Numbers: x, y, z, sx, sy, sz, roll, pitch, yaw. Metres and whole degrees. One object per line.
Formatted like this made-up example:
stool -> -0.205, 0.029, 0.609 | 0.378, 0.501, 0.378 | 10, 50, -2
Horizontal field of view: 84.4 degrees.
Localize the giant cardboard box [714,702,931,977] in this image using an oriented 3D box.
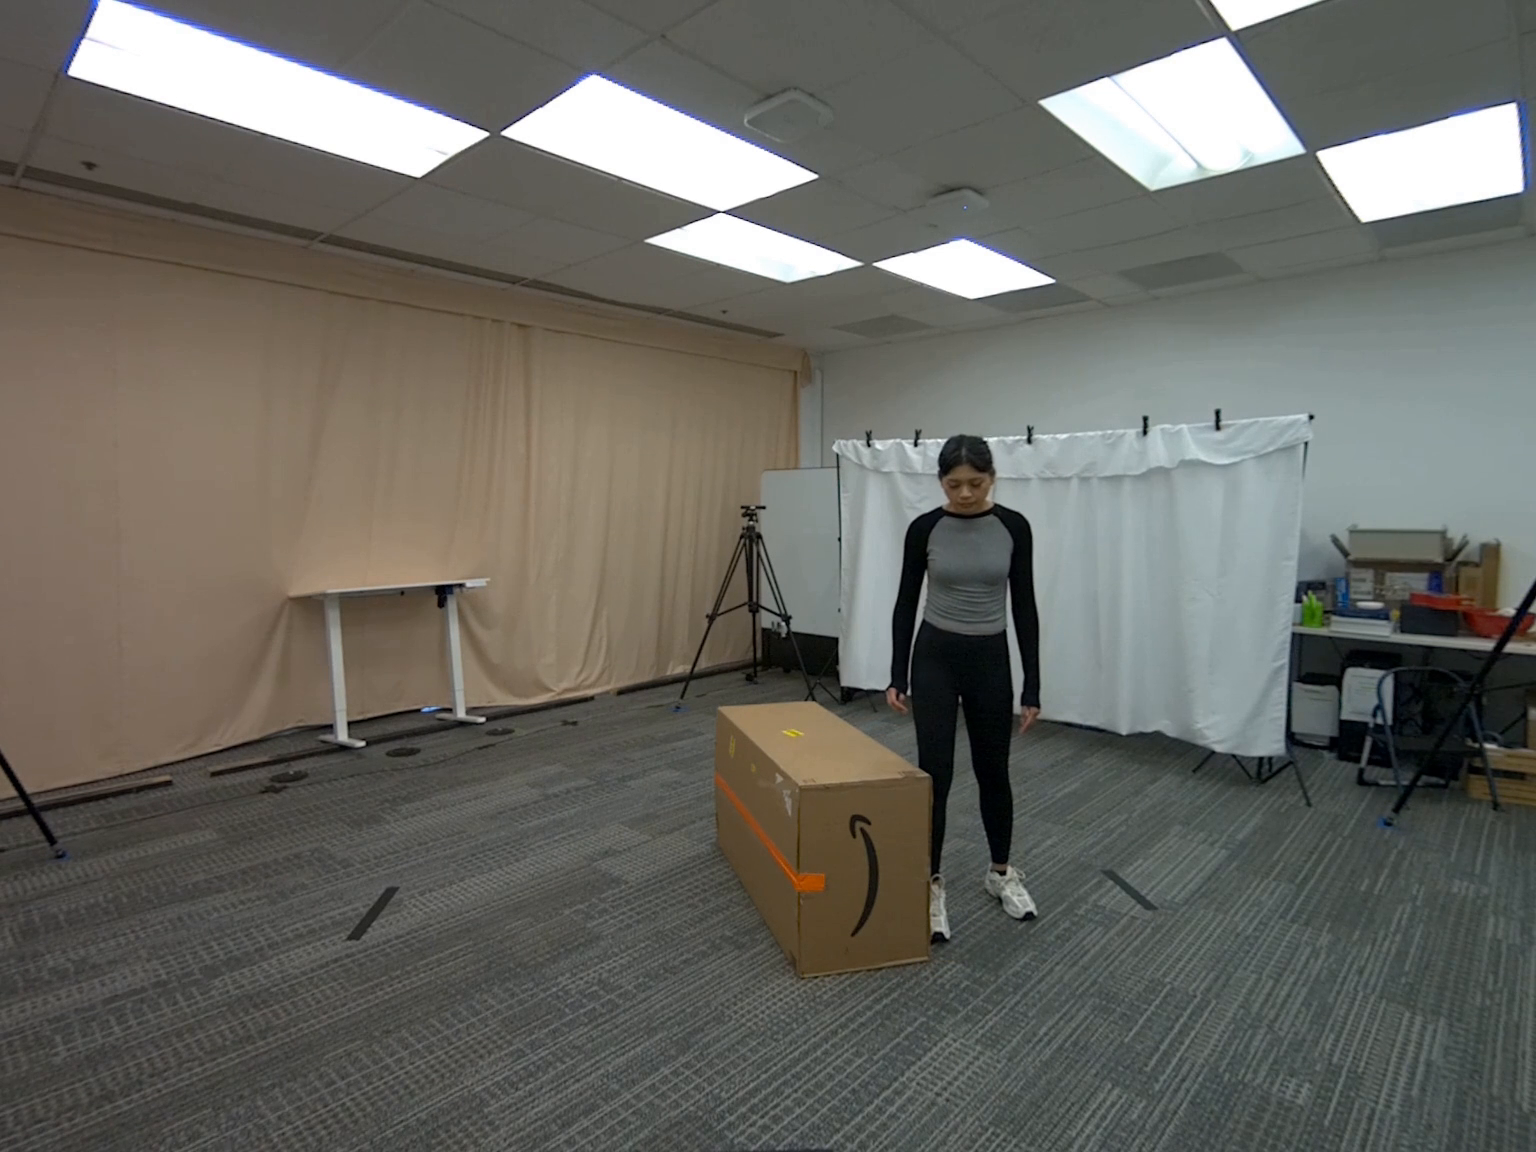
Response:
giant cardboard box -> 0.141, 0.852, 3.002 | 0.419, 0.576, 1.044 | 0, 4, -16
